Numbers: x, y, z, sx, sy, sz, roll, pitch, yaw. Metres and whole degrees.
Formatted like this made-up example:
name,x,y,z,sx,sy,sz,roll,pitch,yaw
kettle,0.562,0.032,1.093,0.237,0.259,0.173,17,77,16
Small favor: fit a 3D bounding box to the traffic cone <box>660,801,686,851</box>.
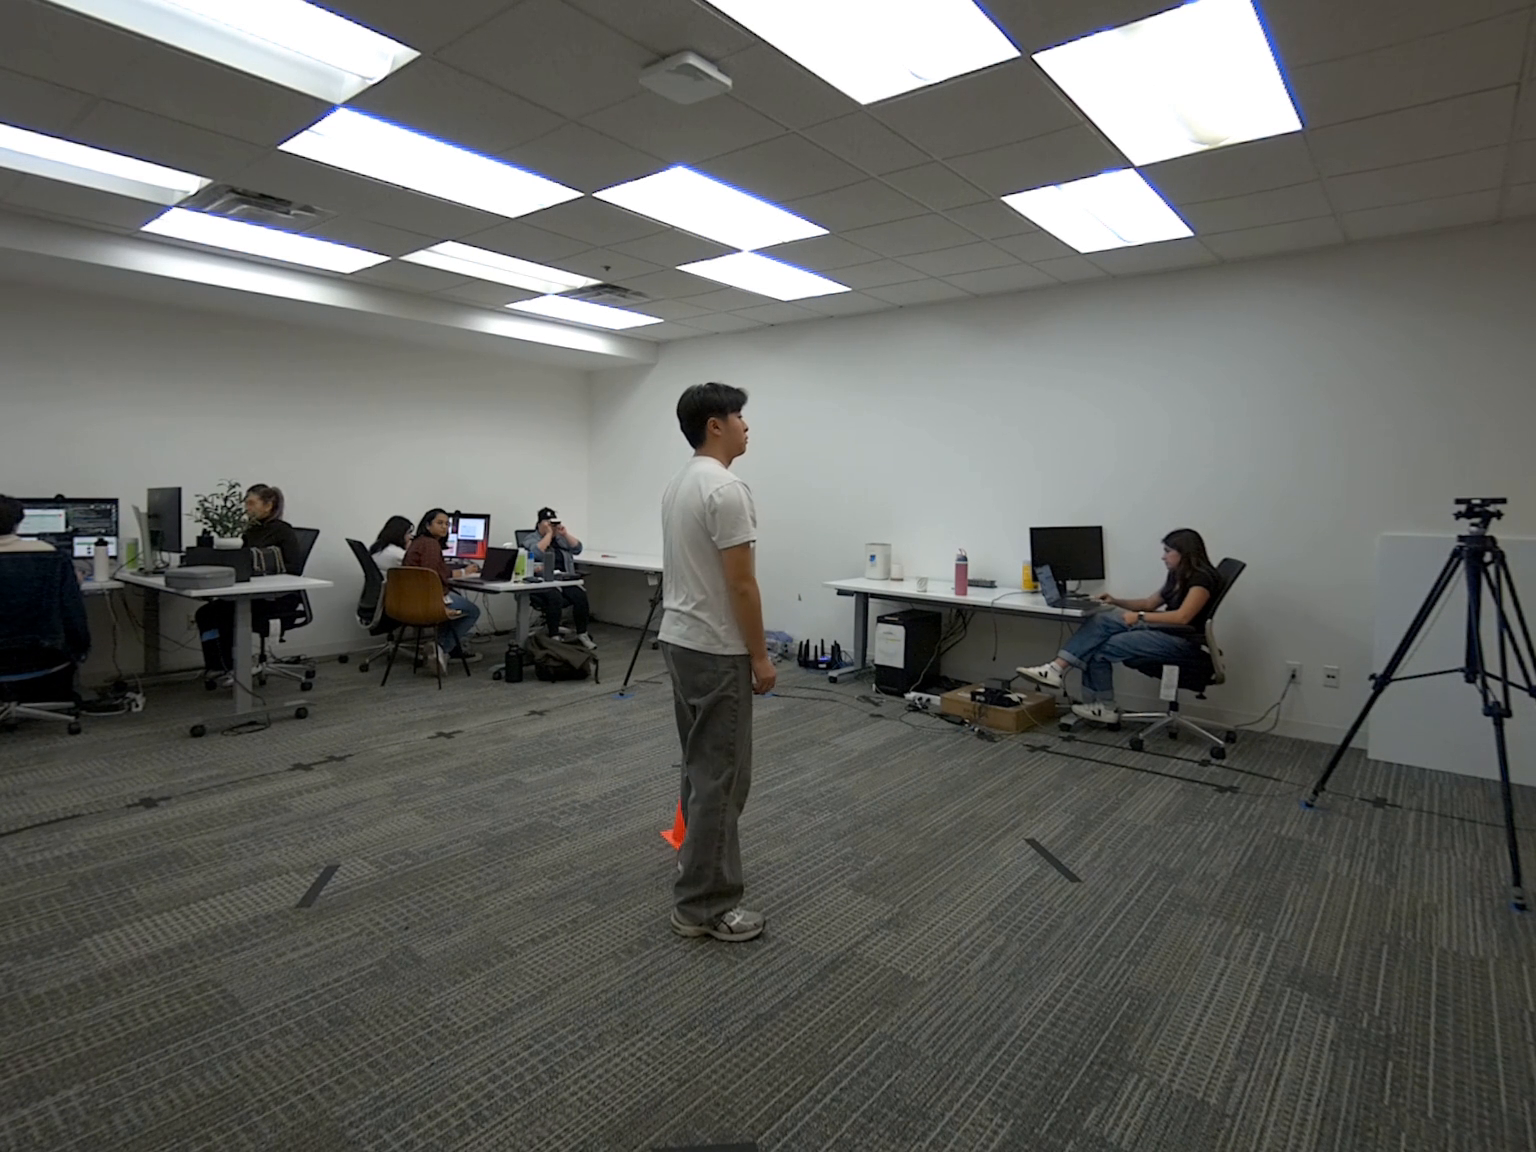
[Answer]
name,x,y,z,sx,sy,sz,roll,pitch,yaw
traffic cone,-0.291,0.849,3.378,0.198,0.382,0.211,0,6,-29
